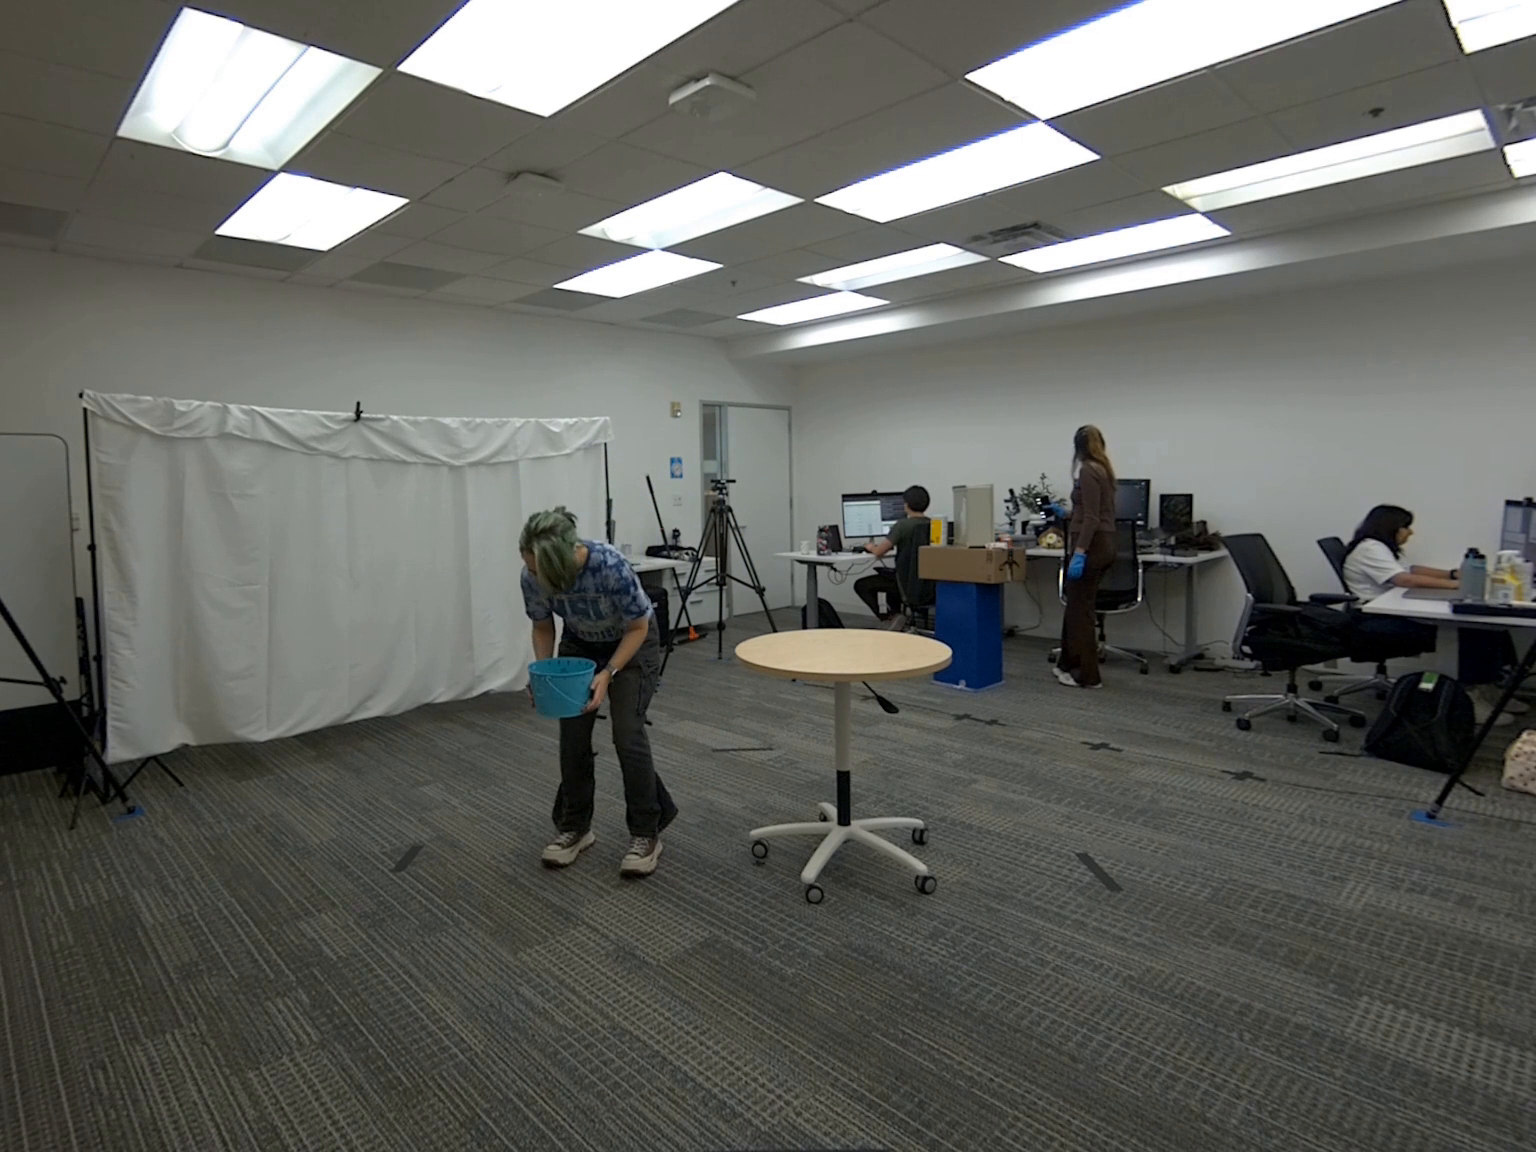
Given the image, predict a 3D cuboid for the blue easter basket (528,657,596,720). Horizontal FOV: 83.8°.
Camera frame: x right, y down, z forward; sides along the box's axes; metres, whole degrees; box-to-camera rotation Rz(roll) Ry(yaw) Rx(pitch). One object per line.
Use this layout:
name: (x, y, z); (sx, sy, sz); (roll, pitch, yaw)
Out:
blue easter basket: (-0.695, 0.389, 2.894); (0.243, 0.155, 0.245); (1, 7, -2)
